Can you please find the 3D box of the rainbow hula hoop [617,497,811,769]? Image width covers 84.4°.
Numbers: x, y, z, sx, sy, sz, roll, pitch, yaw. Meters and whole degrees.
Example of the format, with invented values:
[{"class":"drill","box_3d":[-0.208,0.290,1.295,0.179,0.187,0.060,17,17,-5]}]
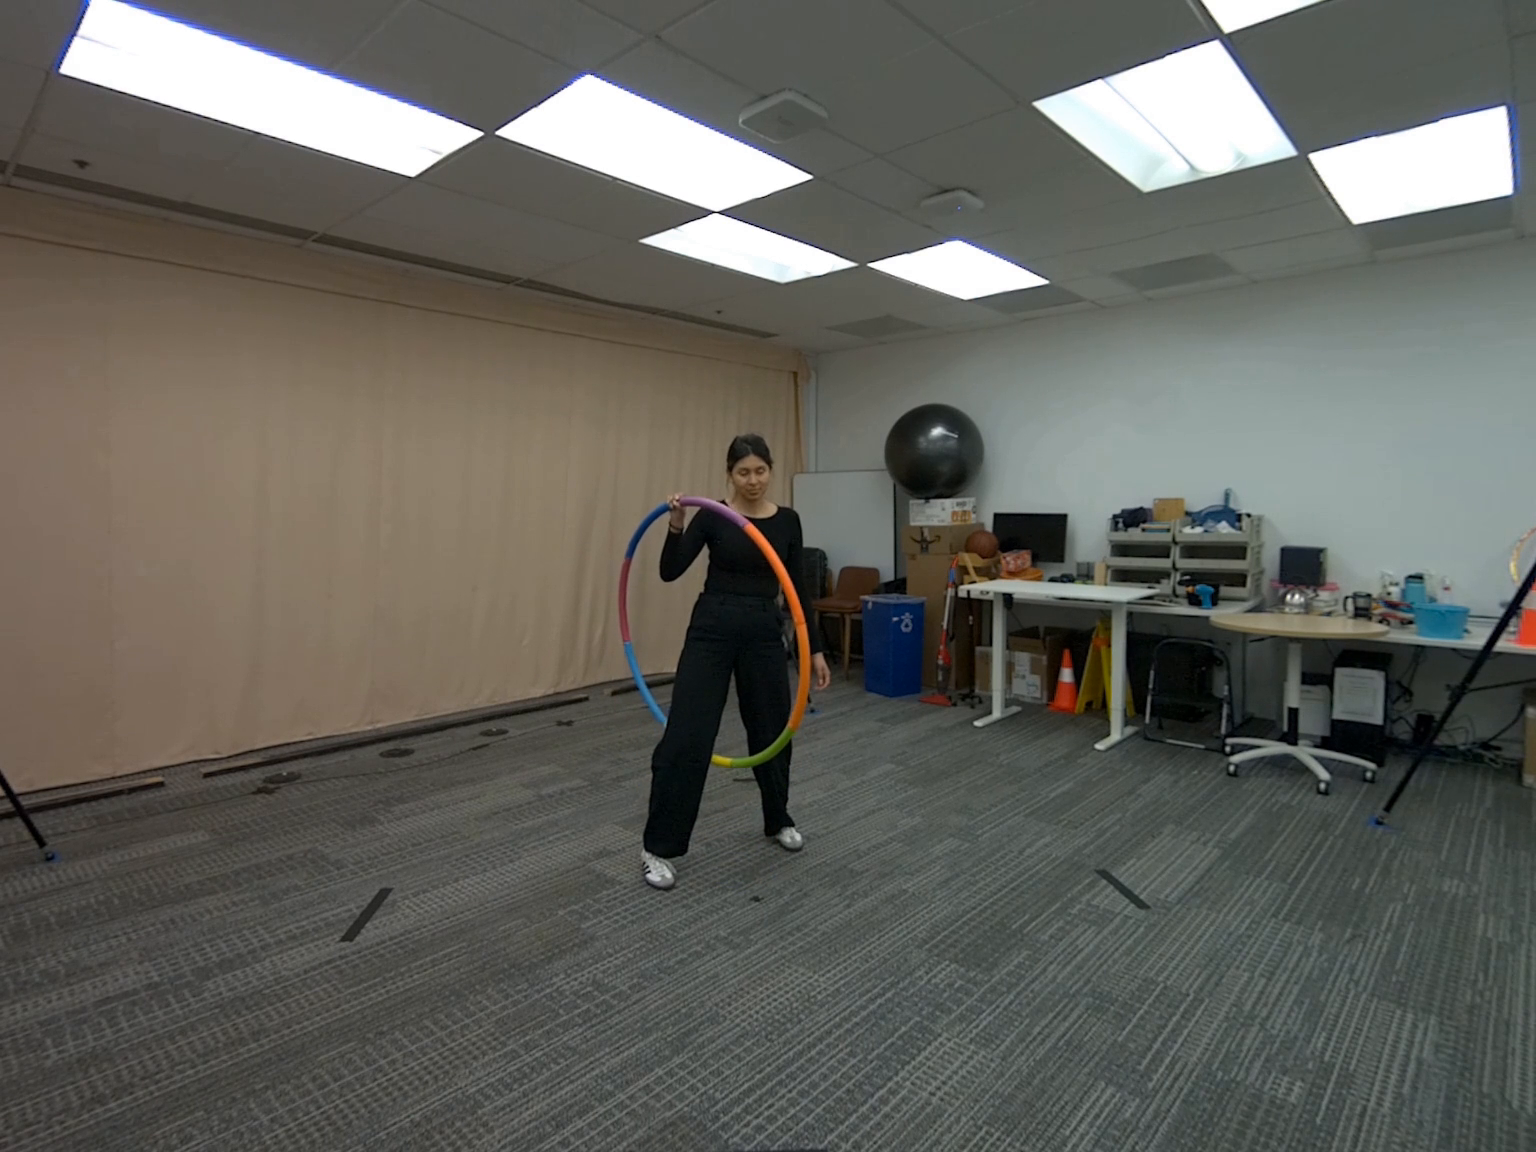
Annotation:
[{"class":"rainbow hula hoop","box_3d":[-0.218,0.206,3.040,1.011,0.972,0.034,4,12,44]}]
